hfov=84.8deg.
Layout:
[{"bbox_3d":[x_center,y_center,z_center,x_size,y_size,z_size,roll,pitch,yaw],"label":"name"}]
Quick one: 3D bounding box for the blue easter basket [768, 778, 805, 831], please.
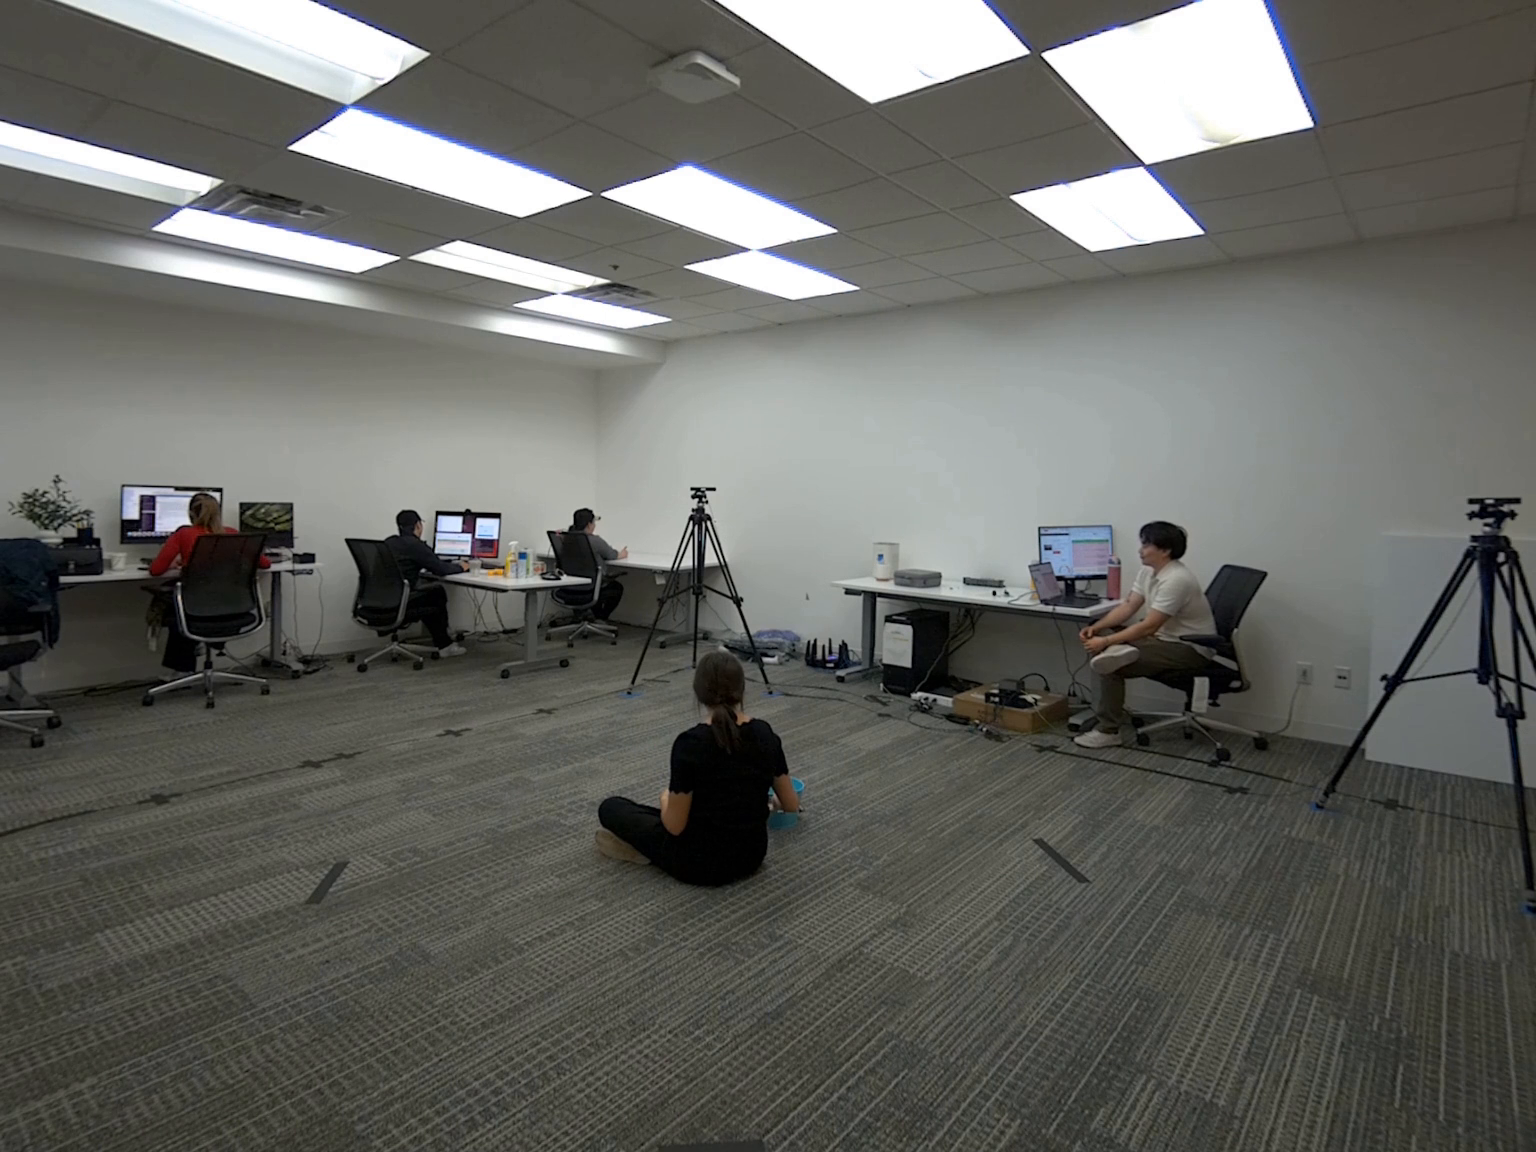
[{"bbox_3d":[0.028,0.939,3.574,0.243,0.155,0.245,1,5,-2],"label":"blue easter basket"}]
